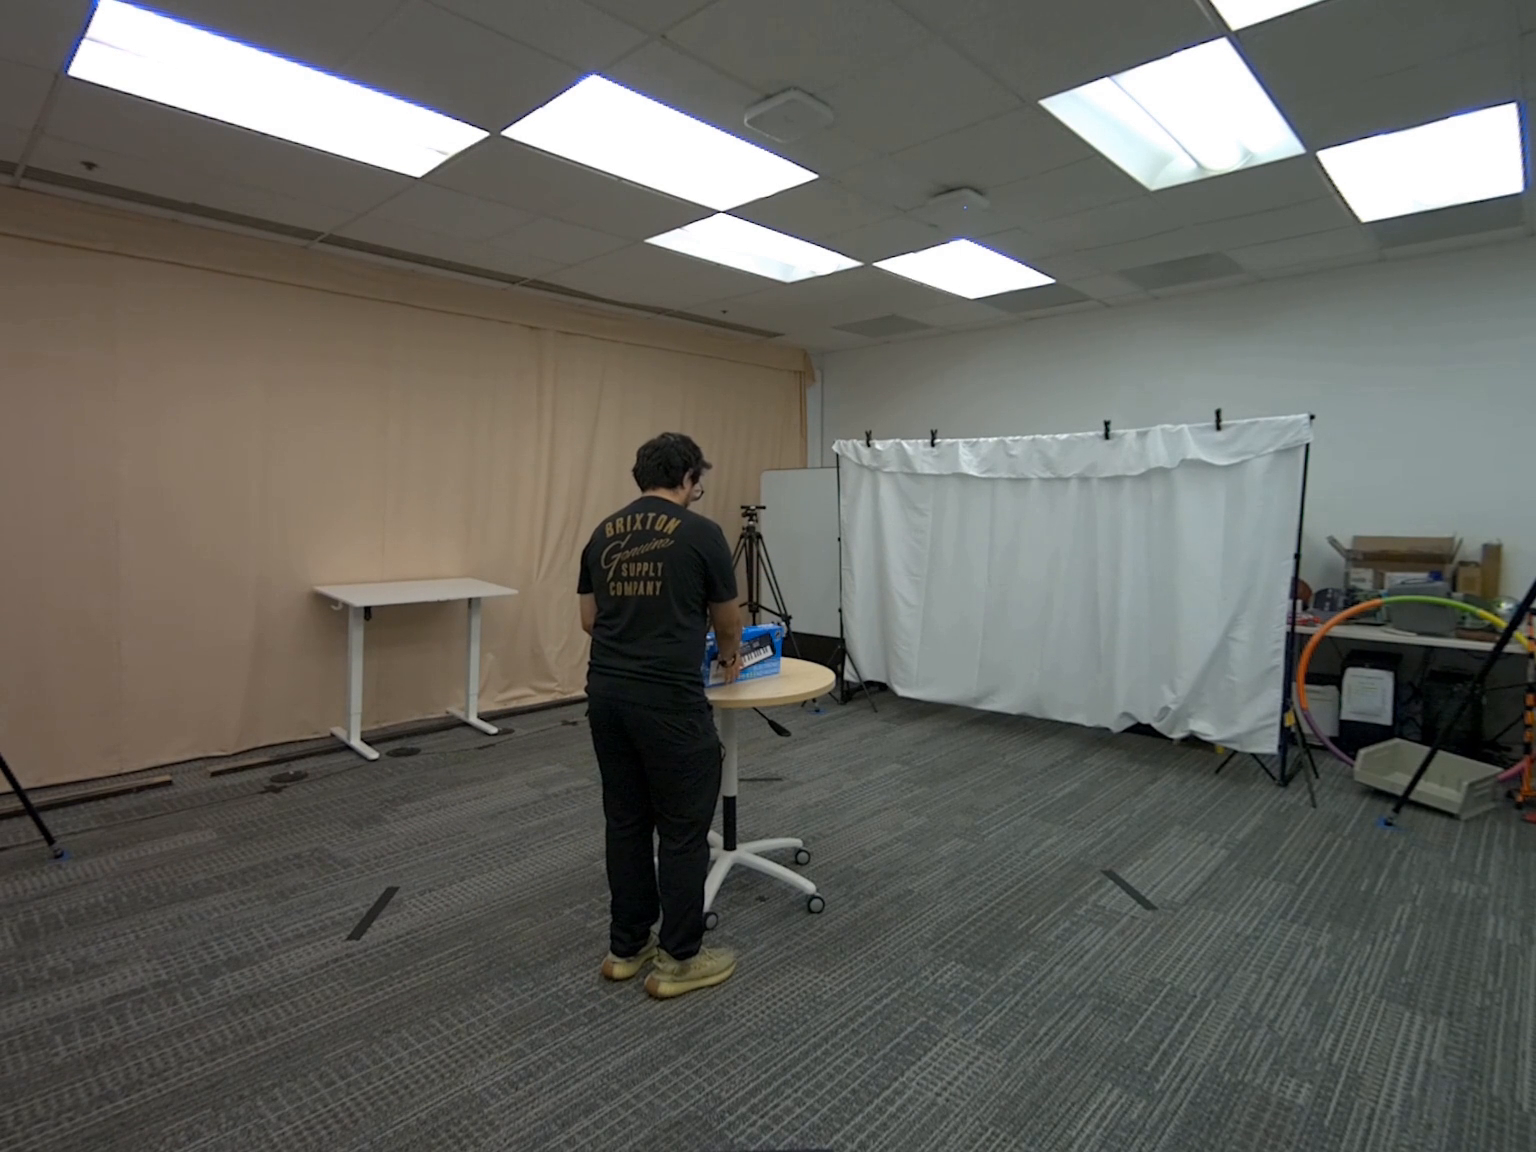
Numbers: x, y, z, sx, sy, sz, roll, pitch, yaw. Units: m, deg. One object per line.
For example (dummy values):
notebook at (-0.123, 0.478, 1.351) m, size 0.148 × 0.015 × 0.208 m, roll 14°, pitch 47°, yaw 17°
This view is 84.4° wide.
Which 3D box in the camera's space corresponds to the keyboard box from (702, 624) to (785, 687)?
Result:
keyboard box at (-0.122, 0.281, 2.921) m, size 0.424 × 0.175 × 0.061 m, roll -5°, pitch 10°, yaw -42°
